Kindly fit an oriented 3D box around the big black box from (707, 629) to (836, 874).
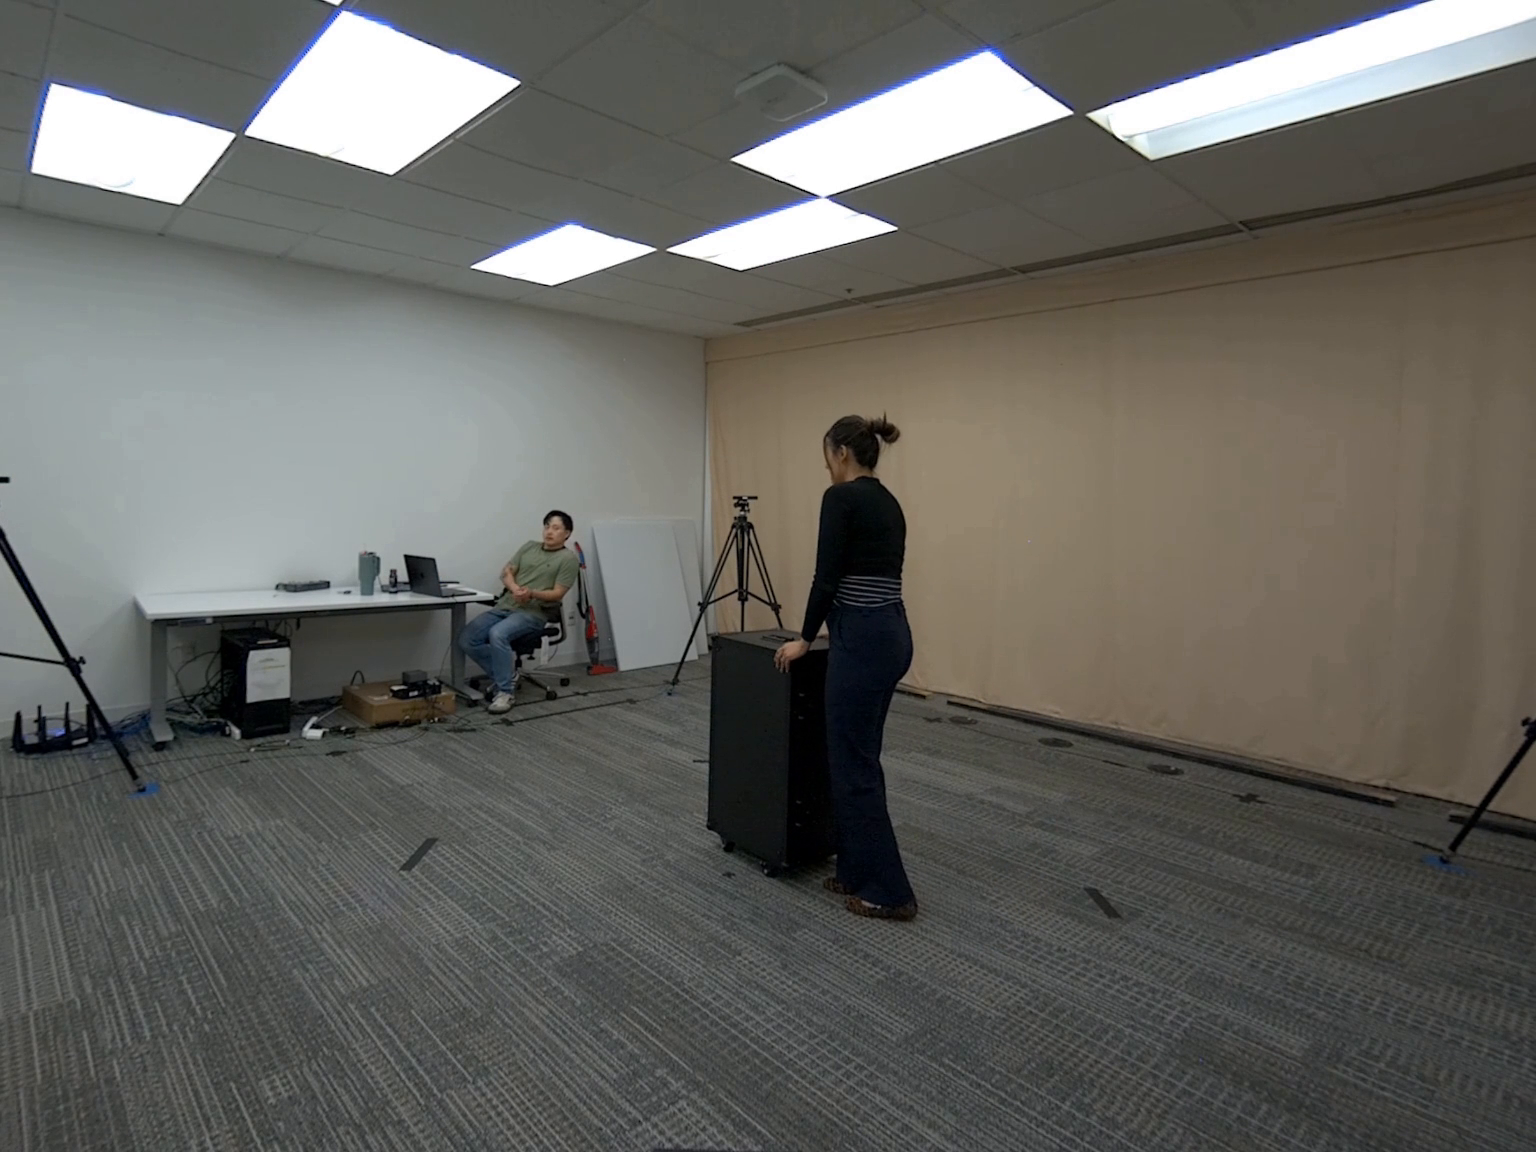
[{"bbox_3d":[0.036,0.613,3.267,0.387,0.860,0.534,0,2,-40],"label":"big black box"}]
